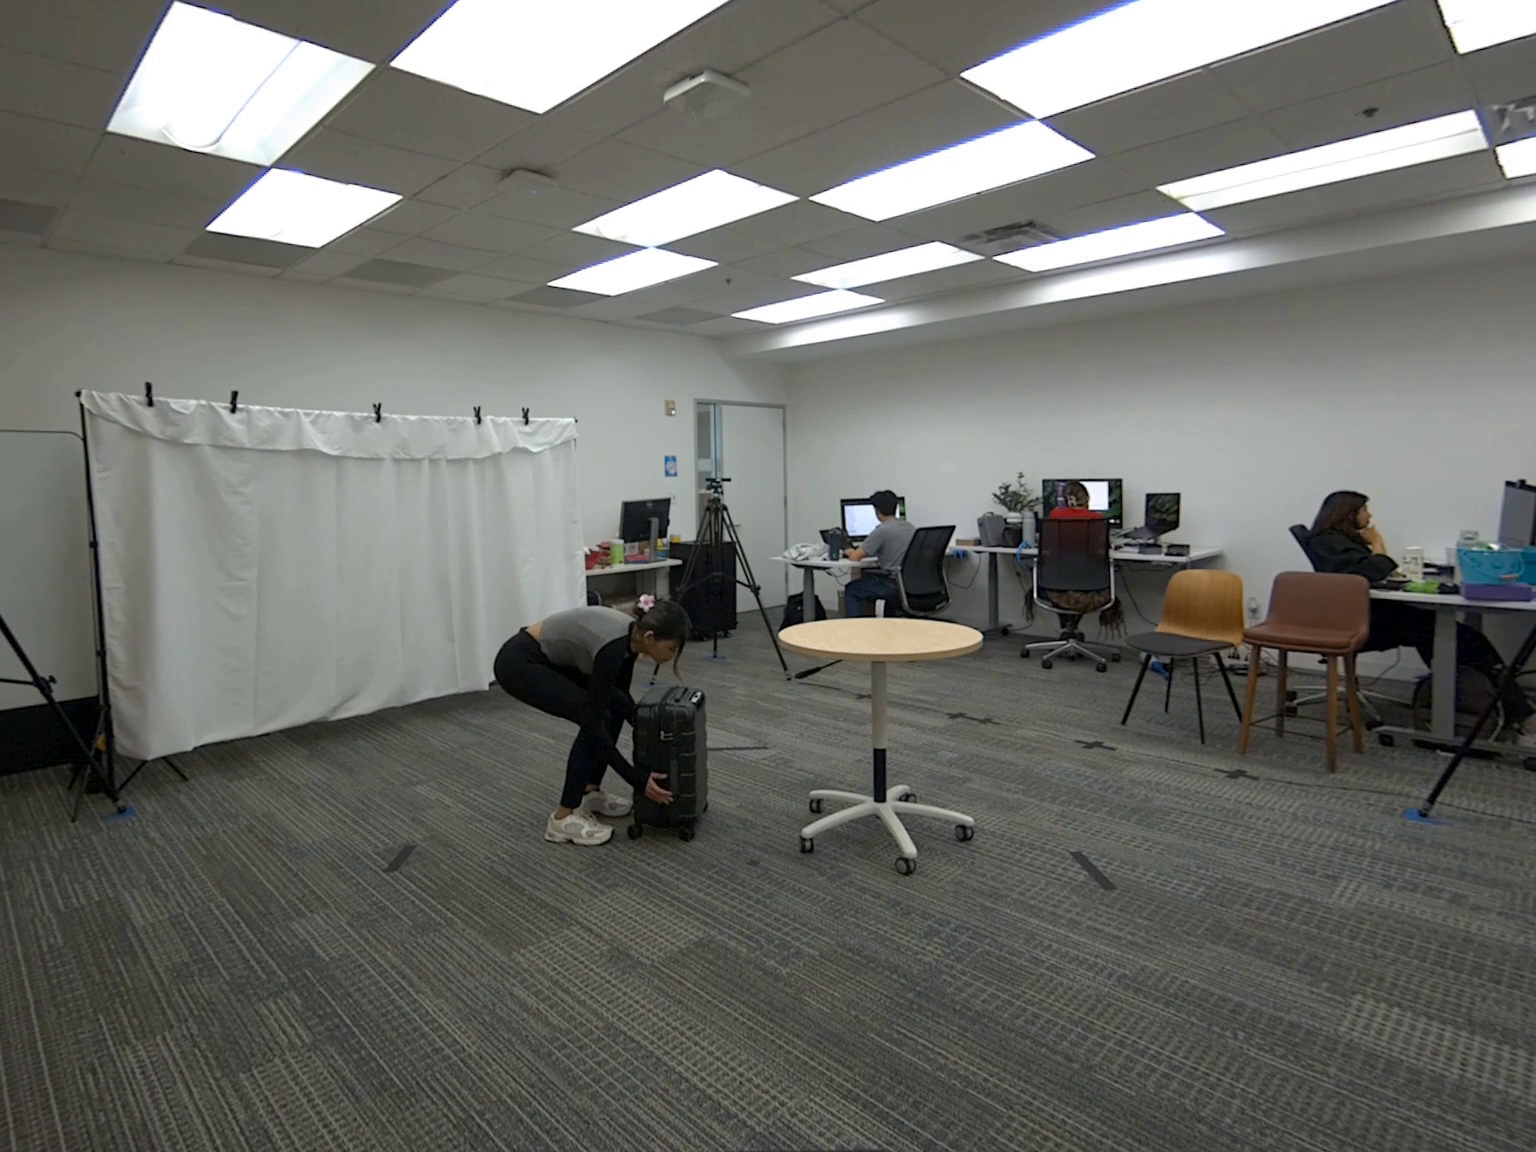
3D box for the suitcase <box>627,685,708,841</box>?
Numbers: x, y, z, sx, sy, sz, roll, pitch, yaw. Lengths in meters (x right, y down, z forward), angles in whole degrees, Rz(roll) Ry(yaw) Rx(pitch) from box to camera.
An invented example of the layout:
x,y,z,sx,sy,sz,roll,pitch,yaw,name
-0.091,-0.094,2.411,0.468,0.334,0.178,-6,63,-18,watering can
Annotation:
x,y,z,sx,sy,sz,roll,pitch,yaw,name
-0.399,0.733,3.446,0.250,0.547,0.375,-1,5,6,suitcase
